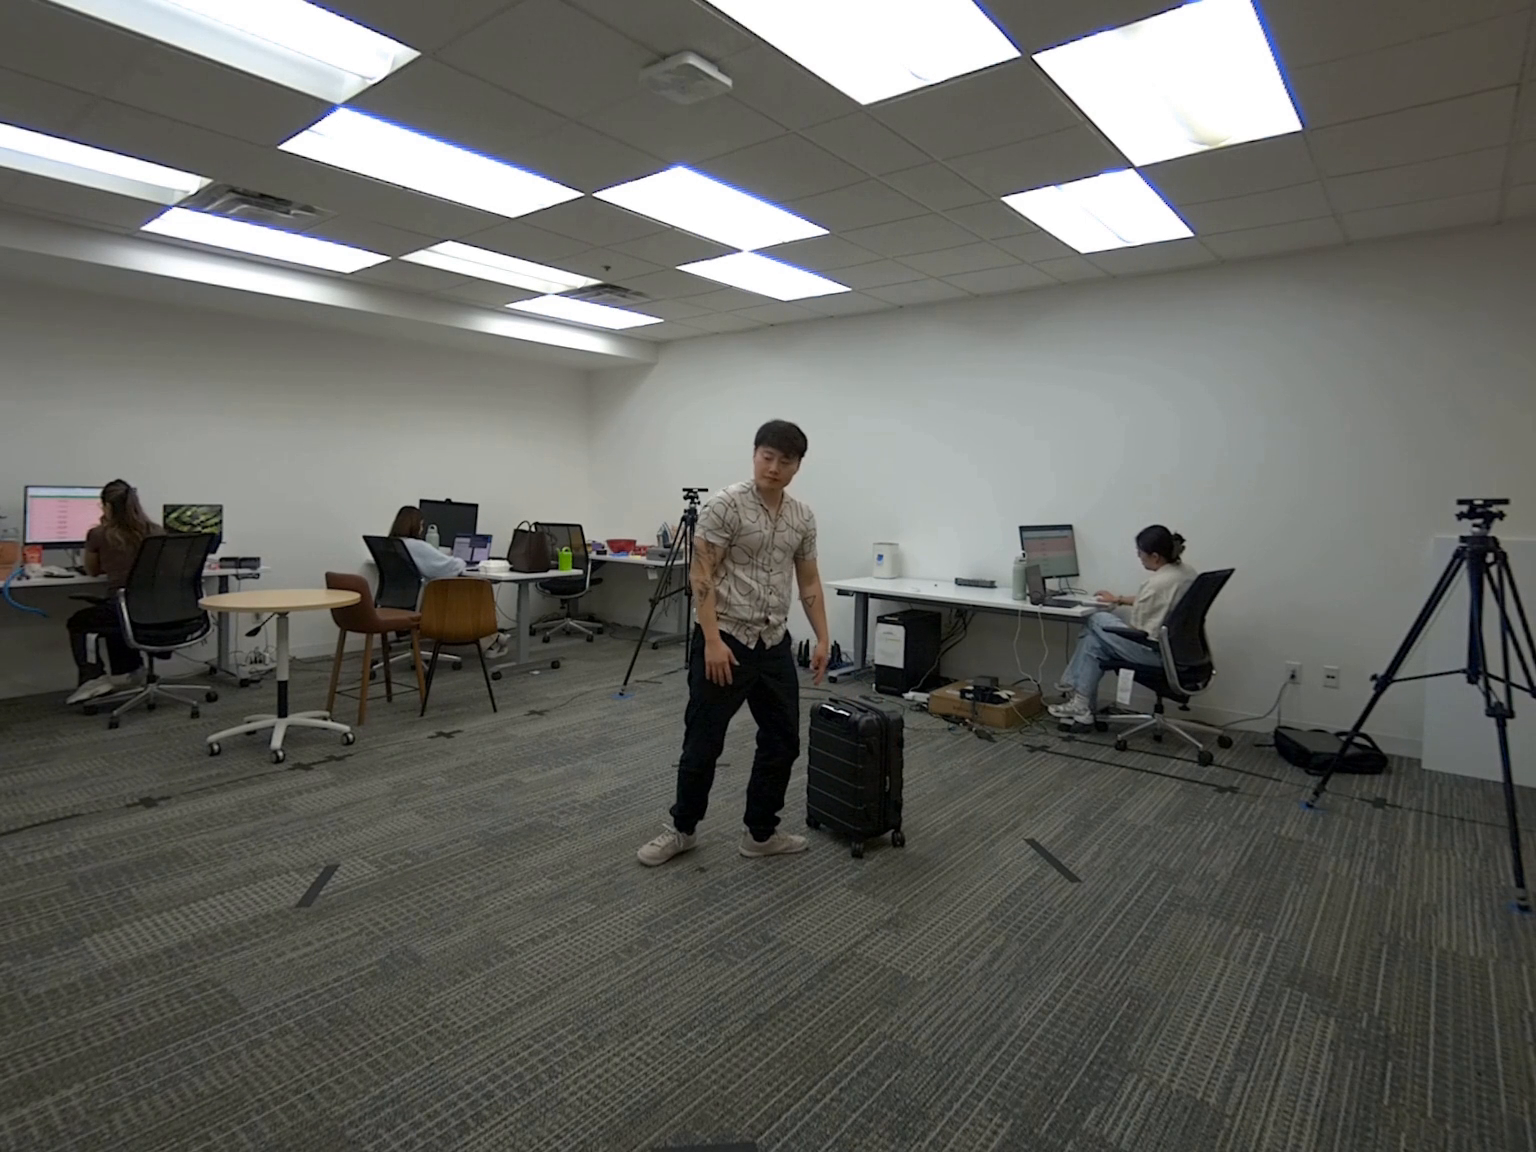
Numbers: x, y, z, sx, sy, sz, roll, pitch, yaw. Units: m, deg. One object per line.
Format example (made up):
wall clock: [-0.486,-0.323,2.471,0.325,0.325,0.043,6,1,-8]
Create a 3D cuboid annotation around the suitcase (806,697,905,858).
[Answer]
suitcase: [0.344,0.774,3.440,0.241,0.548,0.387,0,4,-34]
